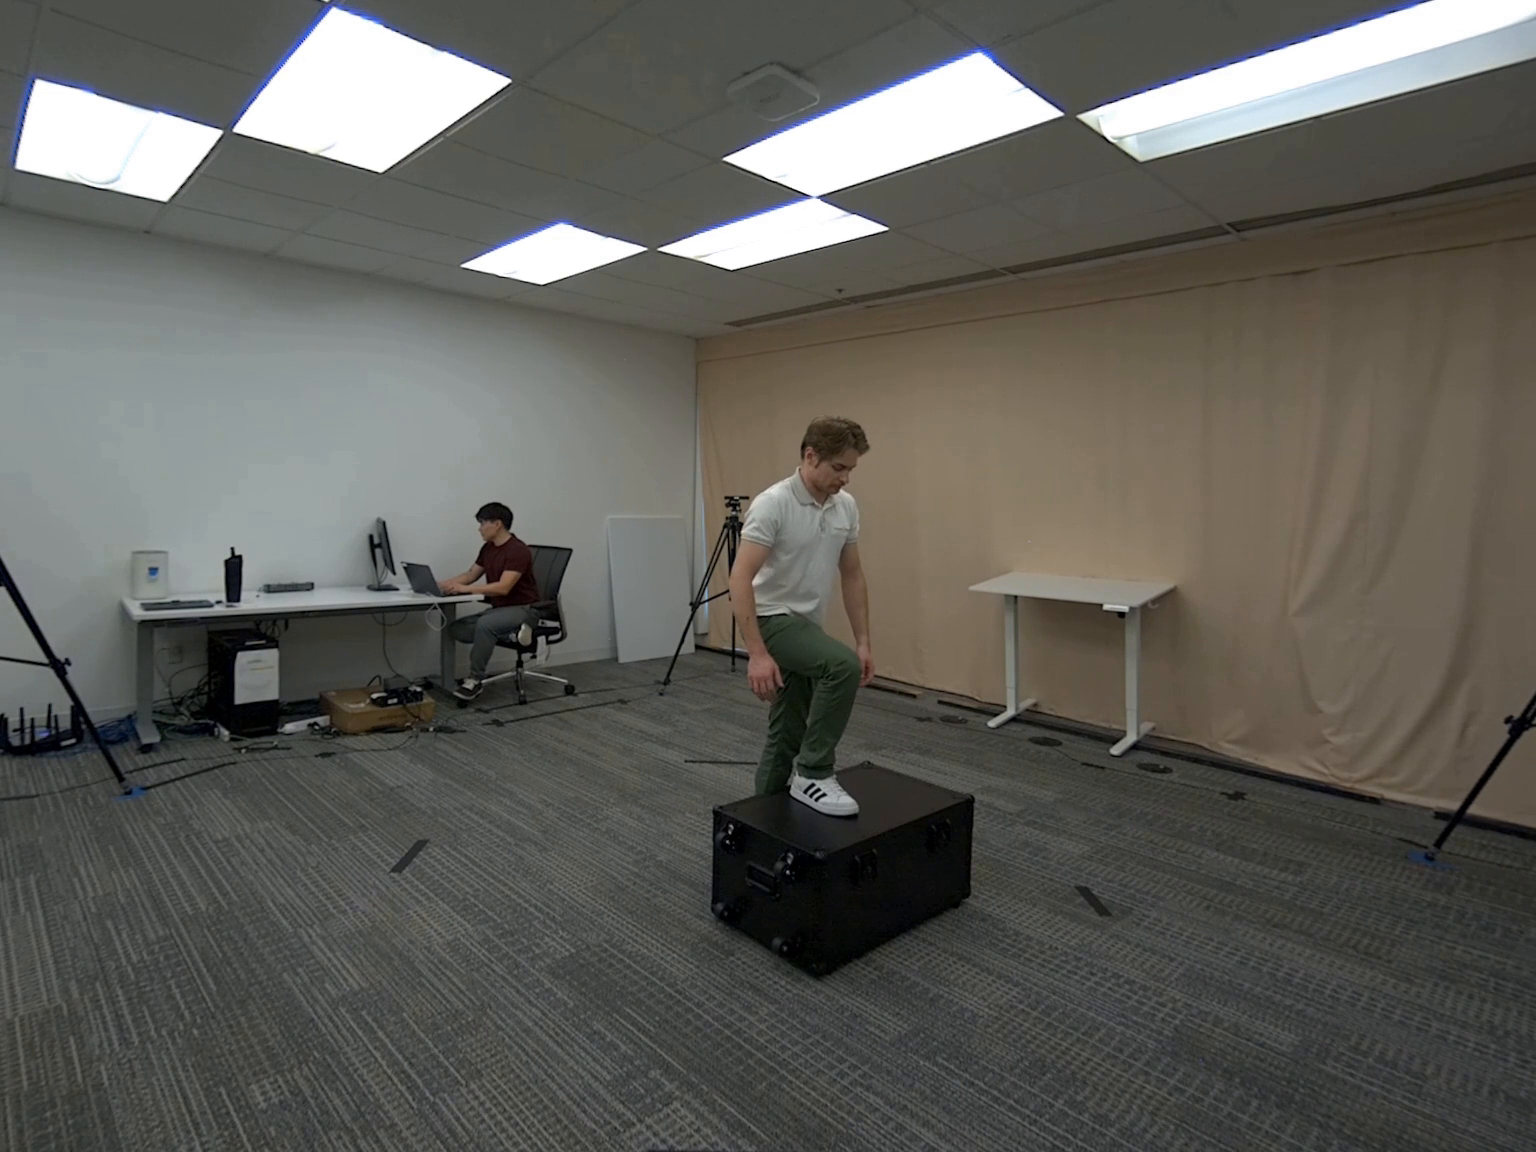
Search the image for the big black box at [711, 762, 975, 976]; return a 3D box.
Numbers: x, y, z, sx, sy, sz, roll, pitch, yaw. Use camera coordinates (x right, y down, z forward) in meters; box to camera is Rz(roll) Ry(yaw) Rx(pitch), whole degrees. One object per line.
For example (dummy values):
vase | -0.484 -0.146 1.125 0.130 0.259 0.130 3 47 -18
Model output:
big black box | 0.233 0.950 2.823 0.841 0.395 0.535 -2 6 -43
